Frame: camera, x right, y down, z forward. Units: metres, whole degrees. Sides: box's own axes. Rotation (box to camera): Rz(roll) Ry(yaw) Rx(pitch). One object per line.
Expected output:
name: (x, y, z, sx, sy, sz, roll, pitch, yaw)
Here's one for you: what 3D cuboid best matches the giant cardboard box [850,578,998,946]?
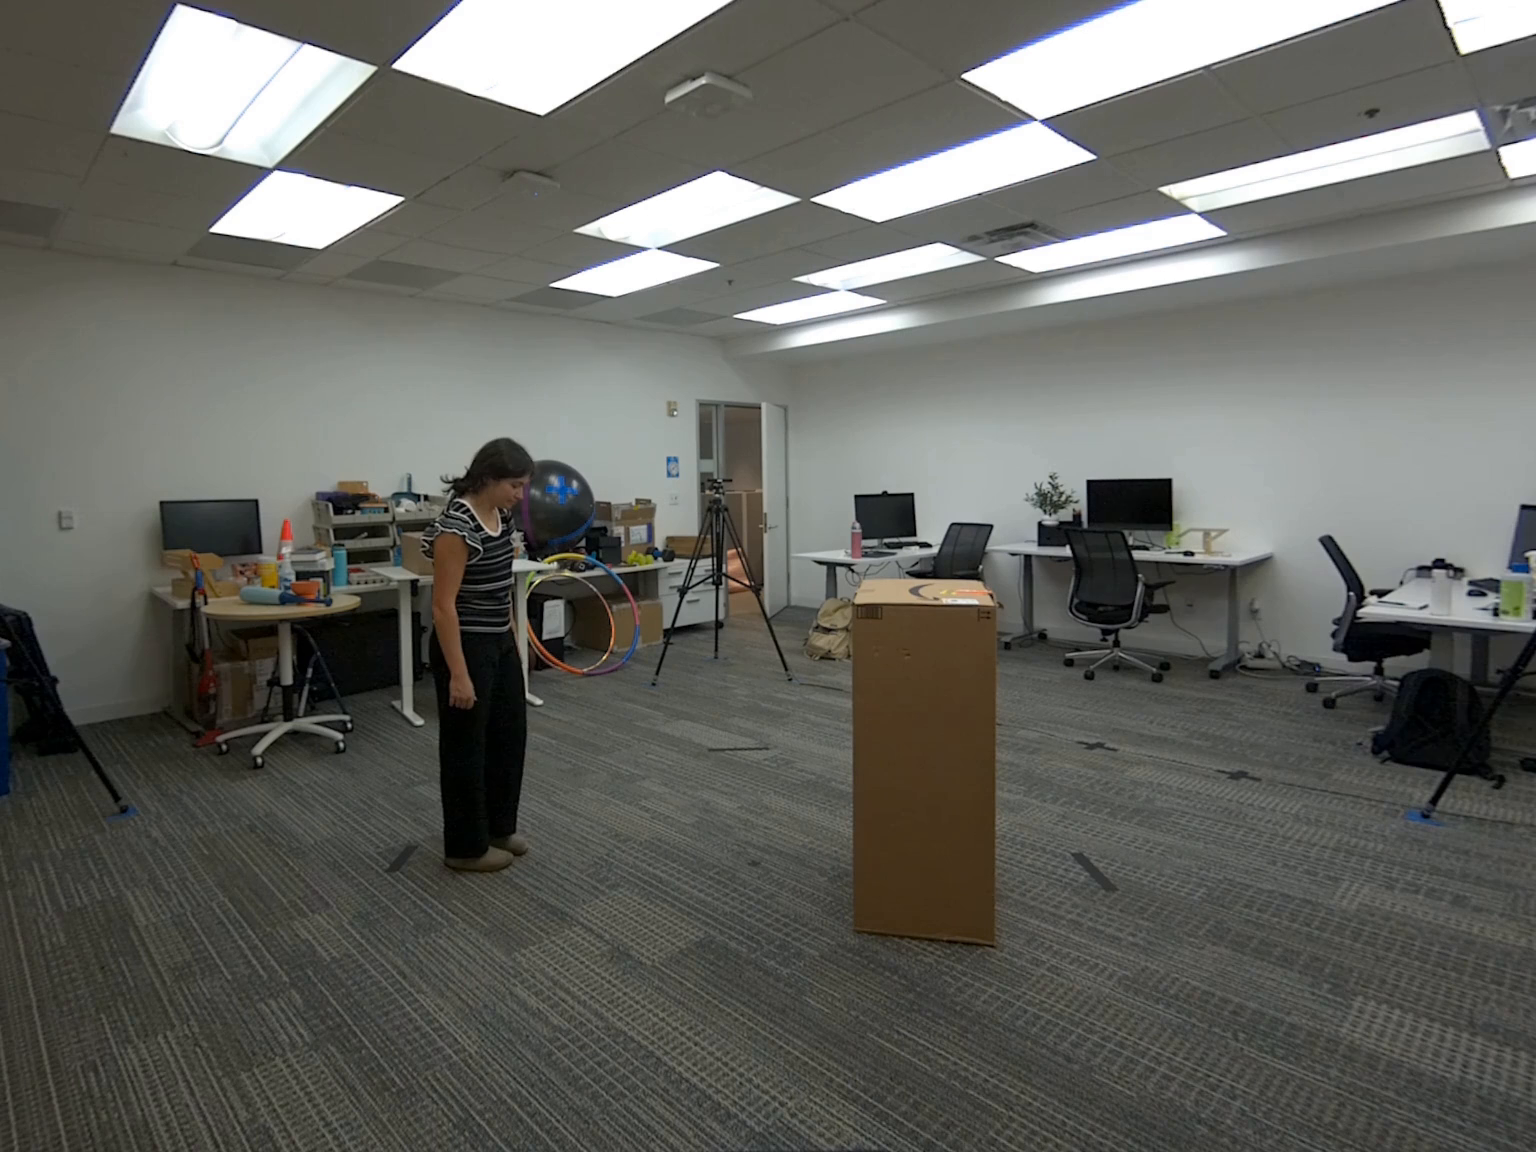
giant cardboard box: (0.511, 0.556, 2.817, 0.431, 1.022, 0.573, 0, 4, 11)
